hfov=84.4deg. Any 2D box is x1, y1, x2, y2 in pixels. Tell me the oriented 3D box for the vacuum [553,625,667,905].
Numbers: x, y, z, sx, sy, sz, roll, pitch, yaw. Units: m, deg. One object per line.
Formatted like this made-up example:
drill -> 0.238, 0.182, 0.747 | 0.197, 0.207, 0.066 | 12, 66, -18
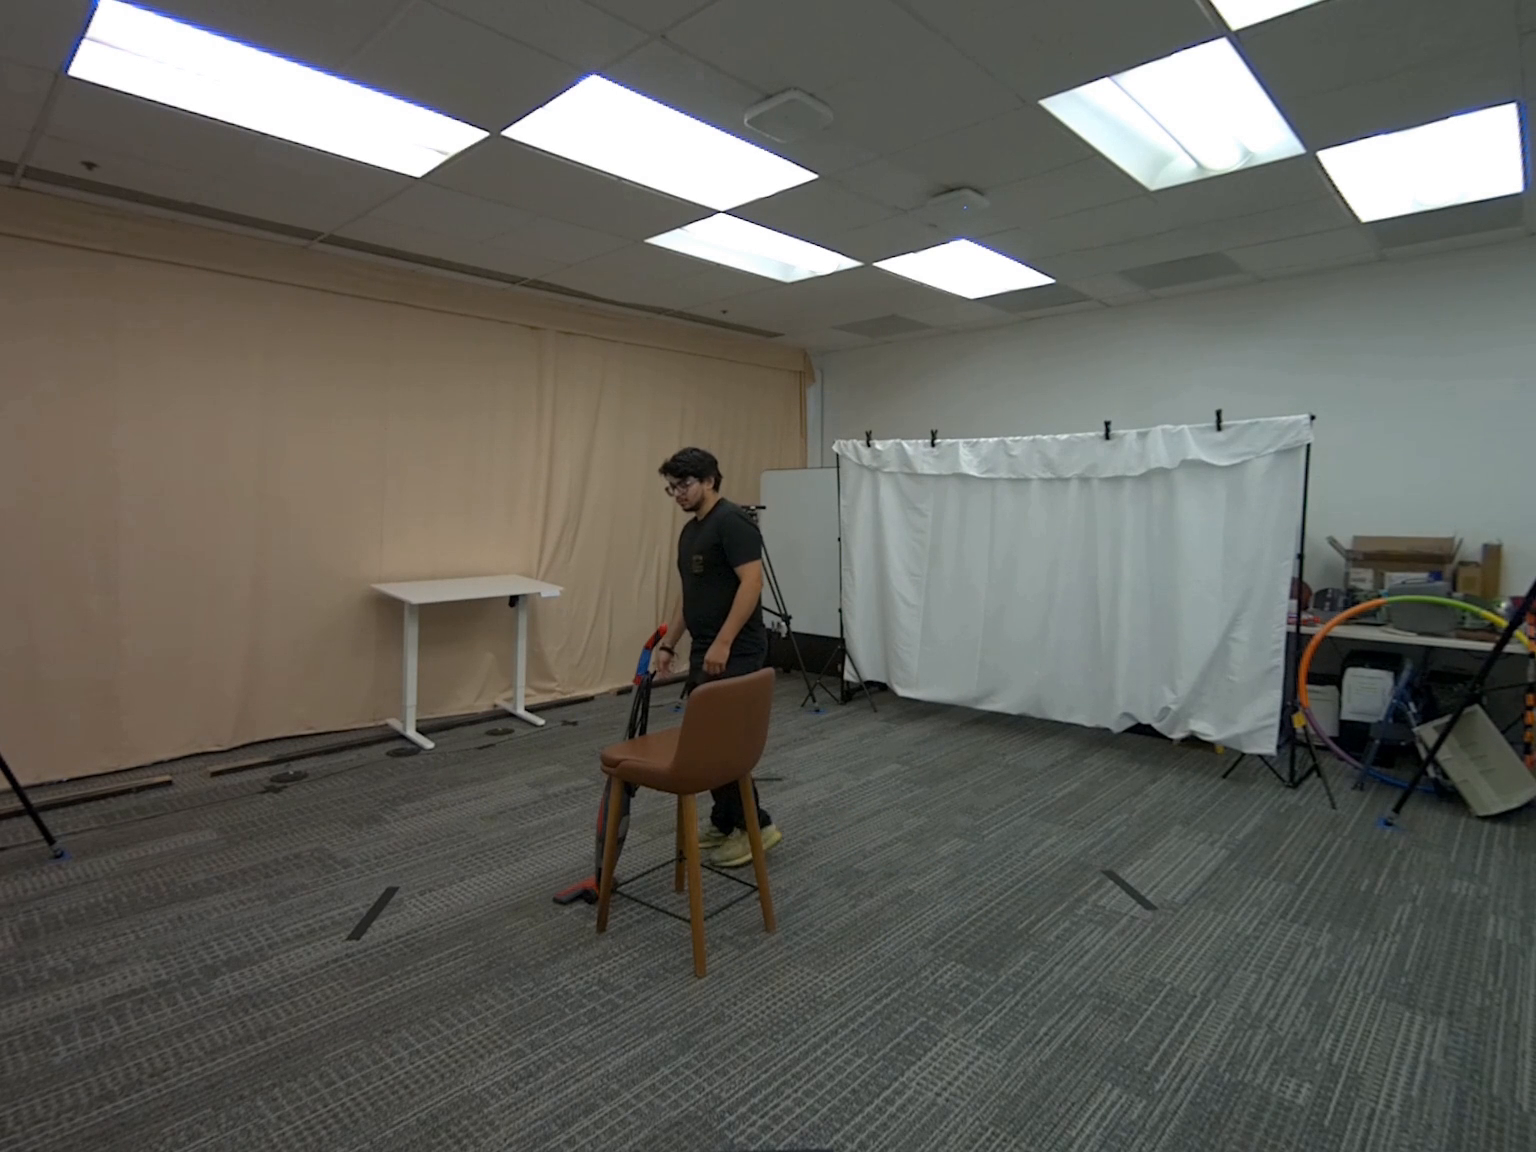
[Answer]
vacuum -> -0.497, 0.663, 2.912 | 0.148, 1.044, 0.246 | 24, 16, 28
